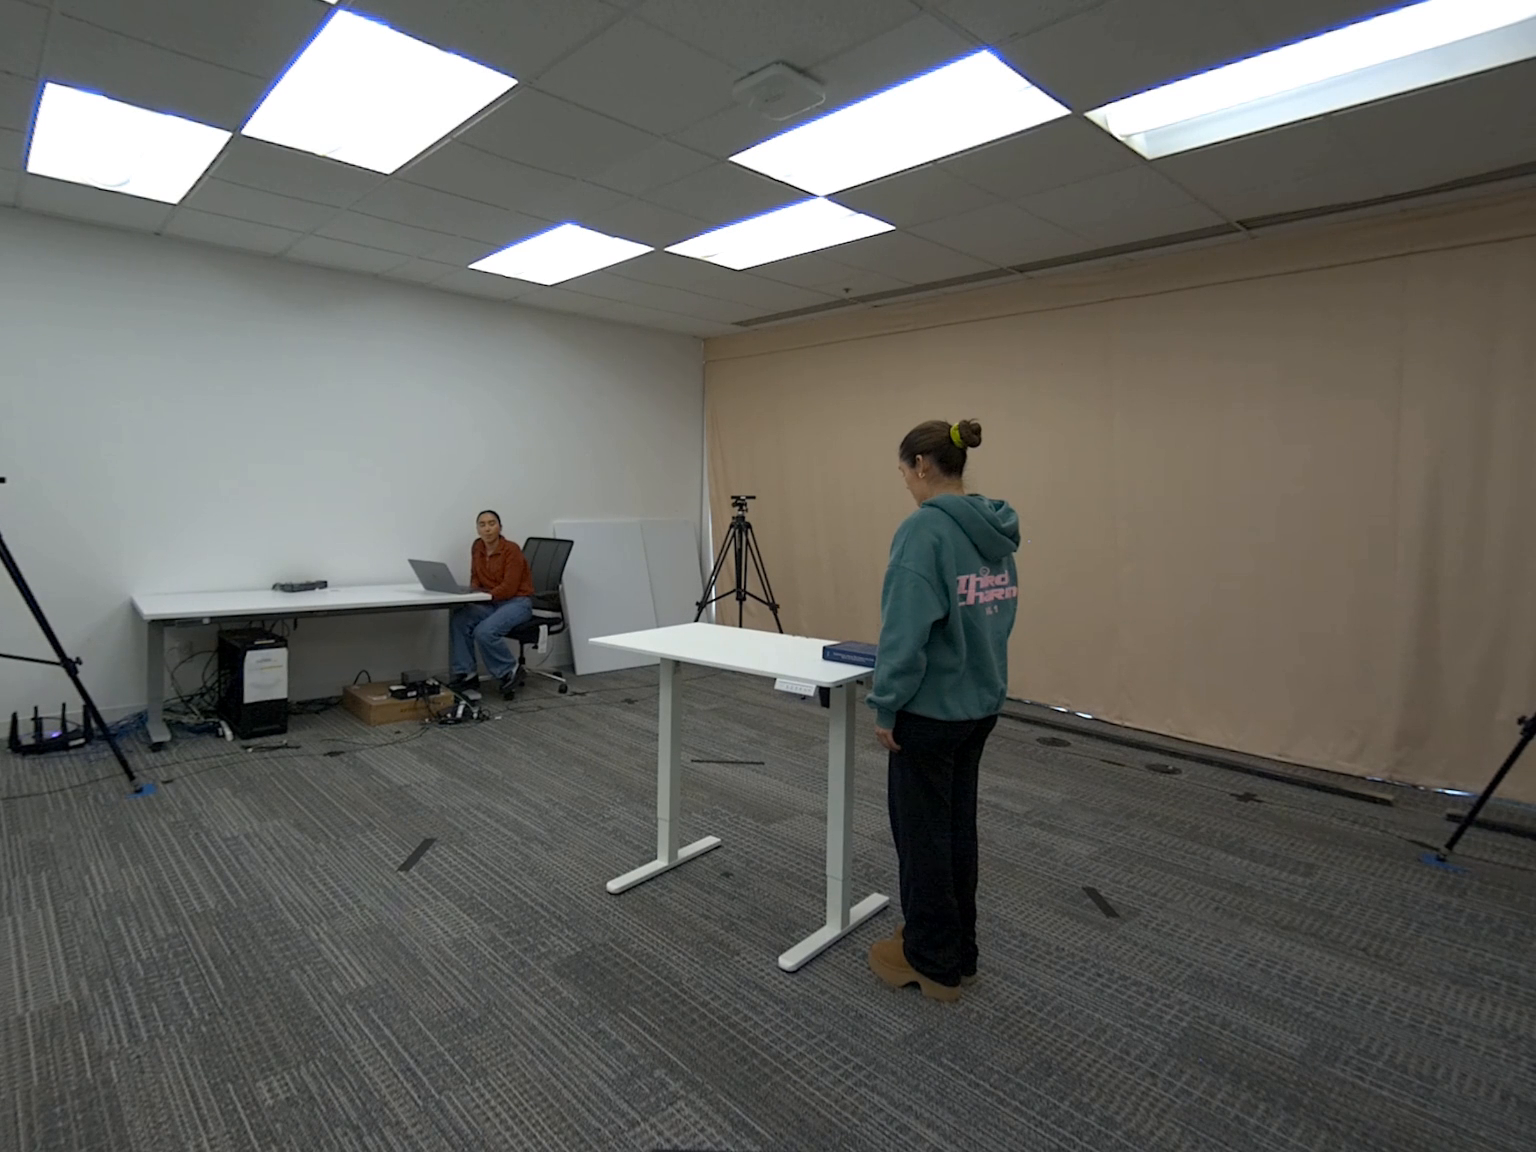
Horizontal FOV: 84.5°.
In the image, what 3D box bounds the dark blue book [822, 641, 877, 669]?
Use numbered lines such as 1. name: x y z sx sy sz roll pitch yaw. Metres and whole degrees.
1. dark blue book: 0.306 0.255 2.637 0.251 0.045 0.160 7 7 42
